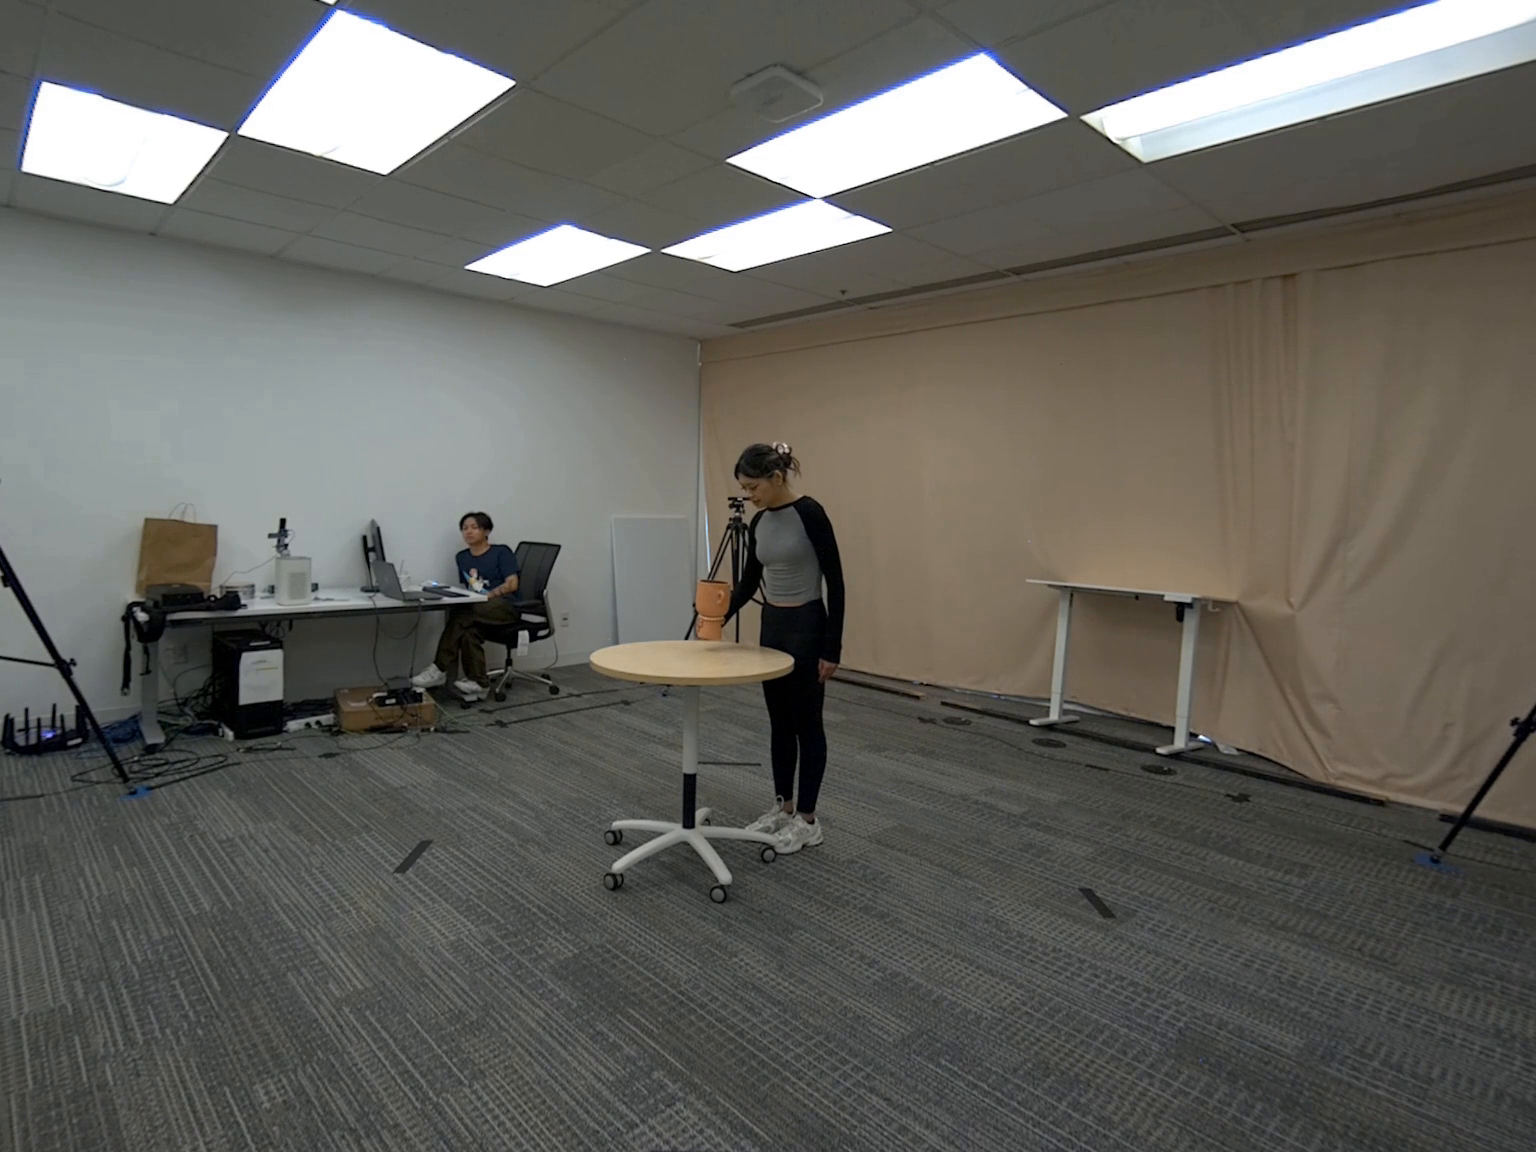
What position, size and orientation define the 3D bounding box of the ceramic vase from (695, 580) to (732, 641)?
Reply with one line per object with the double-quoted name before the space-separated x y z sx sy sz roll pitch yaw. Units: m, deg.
"ceramic vase" -0.227 0.133 3.314 0.136 0.219 0.157 8 5 15
